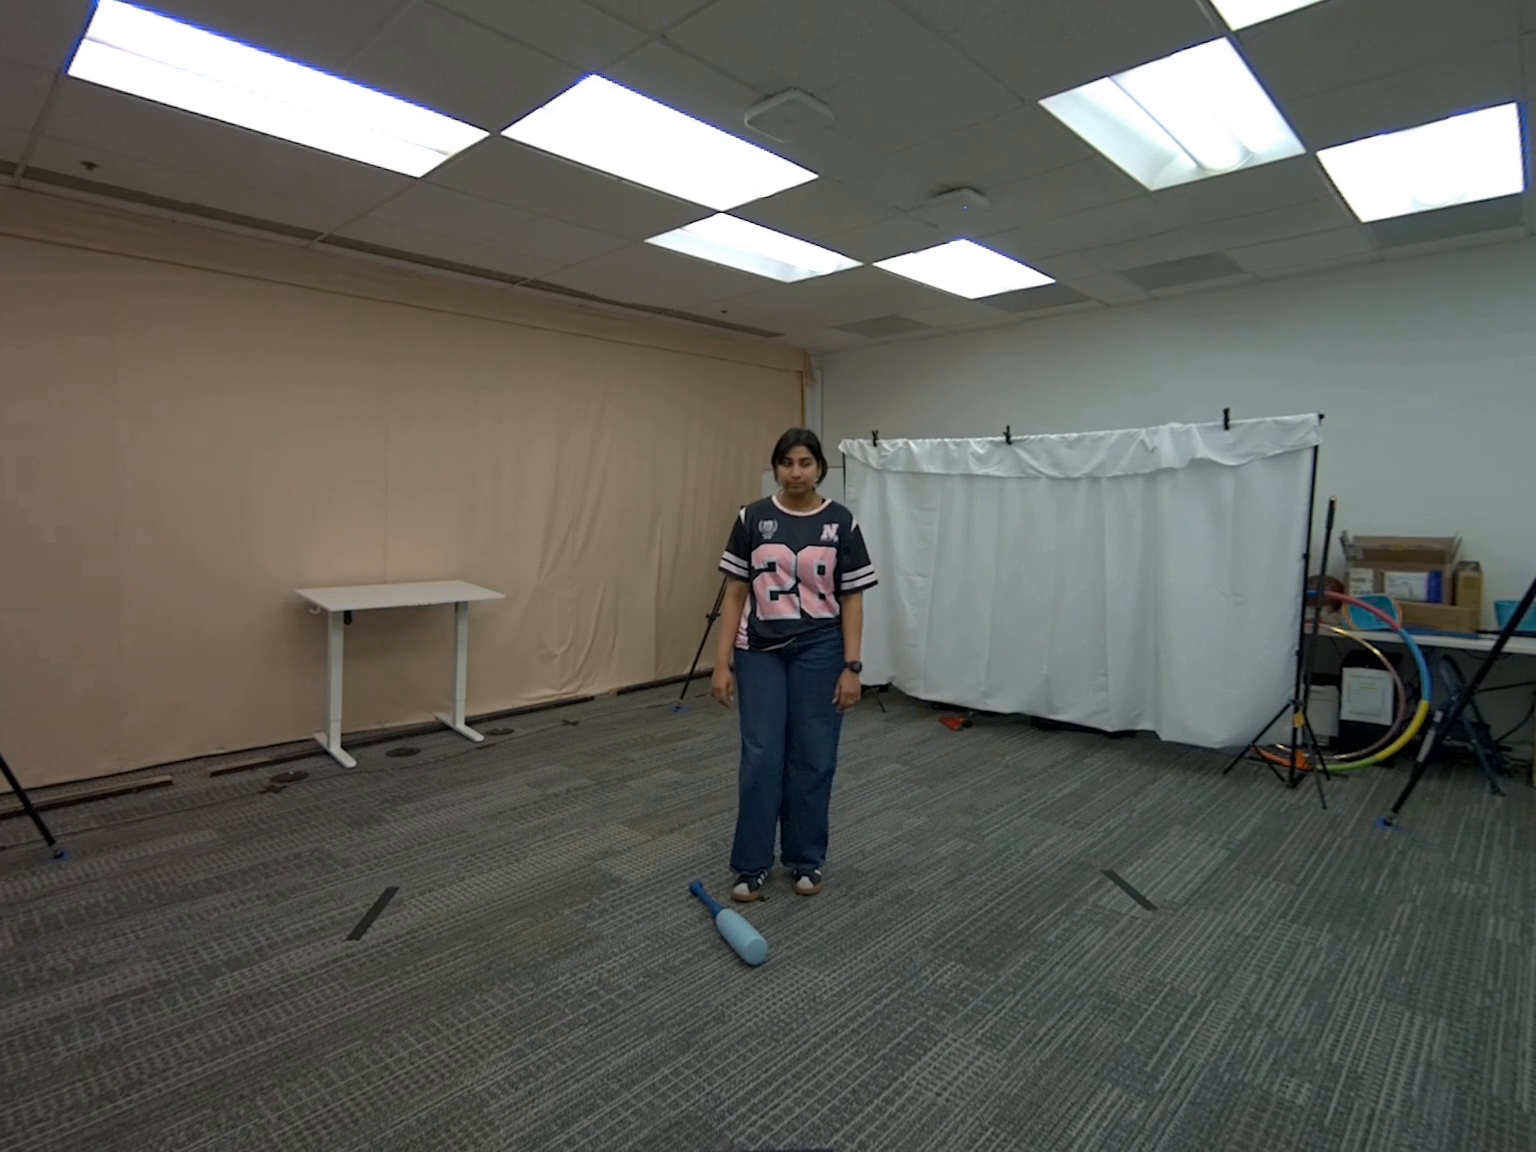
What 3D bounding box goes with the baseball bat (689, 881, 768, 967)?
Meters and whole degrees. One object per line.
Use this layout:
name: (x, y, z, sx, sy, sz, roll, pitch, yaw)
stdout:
baseball bat: (-0.134, 1.128, 2.764, 0.087, 0.089, 0.555, -1, 1, -25)
